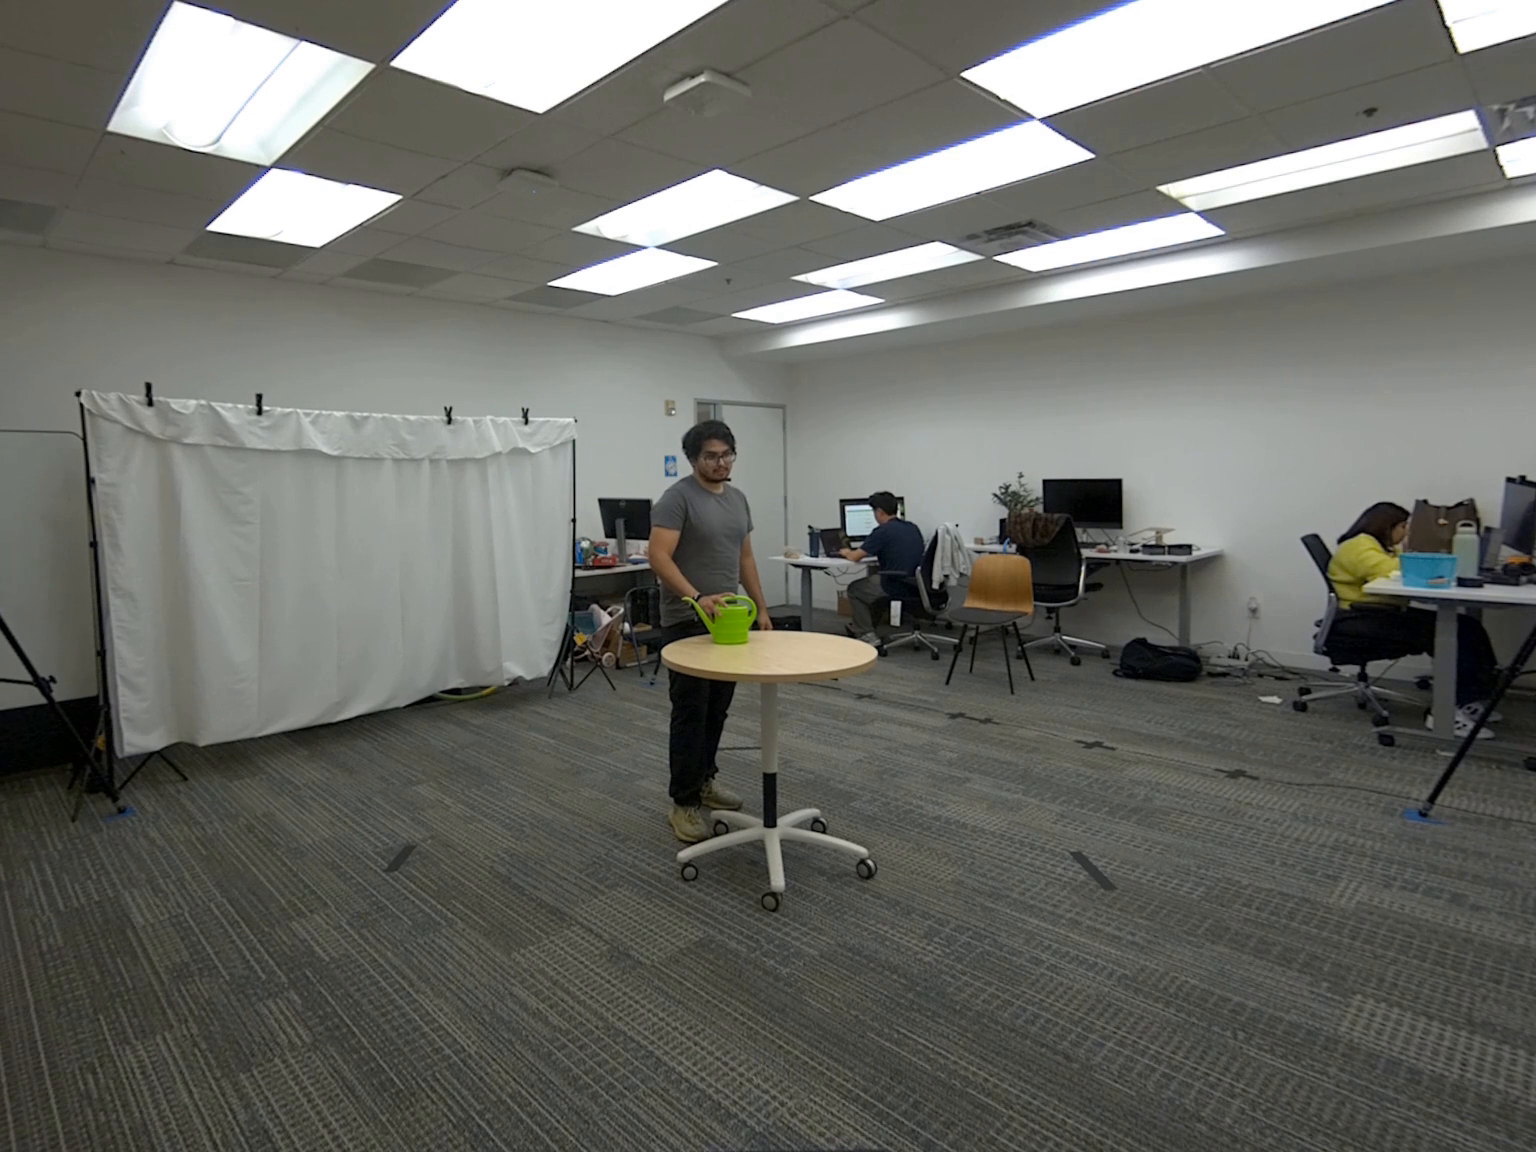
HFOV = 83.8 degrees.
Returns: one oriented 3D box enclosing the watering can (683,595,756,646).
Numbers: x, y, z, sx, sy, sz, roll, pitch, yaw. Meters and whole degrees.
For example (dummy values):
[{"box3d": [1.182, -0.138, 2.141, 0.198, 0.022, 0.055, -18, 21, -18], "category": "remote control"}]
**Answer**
[{"box3d": [-0.184, 0.167, 3.191, 0.277, 0.176, 0.099, 1, 3, -5], "category": "watering can"}]
